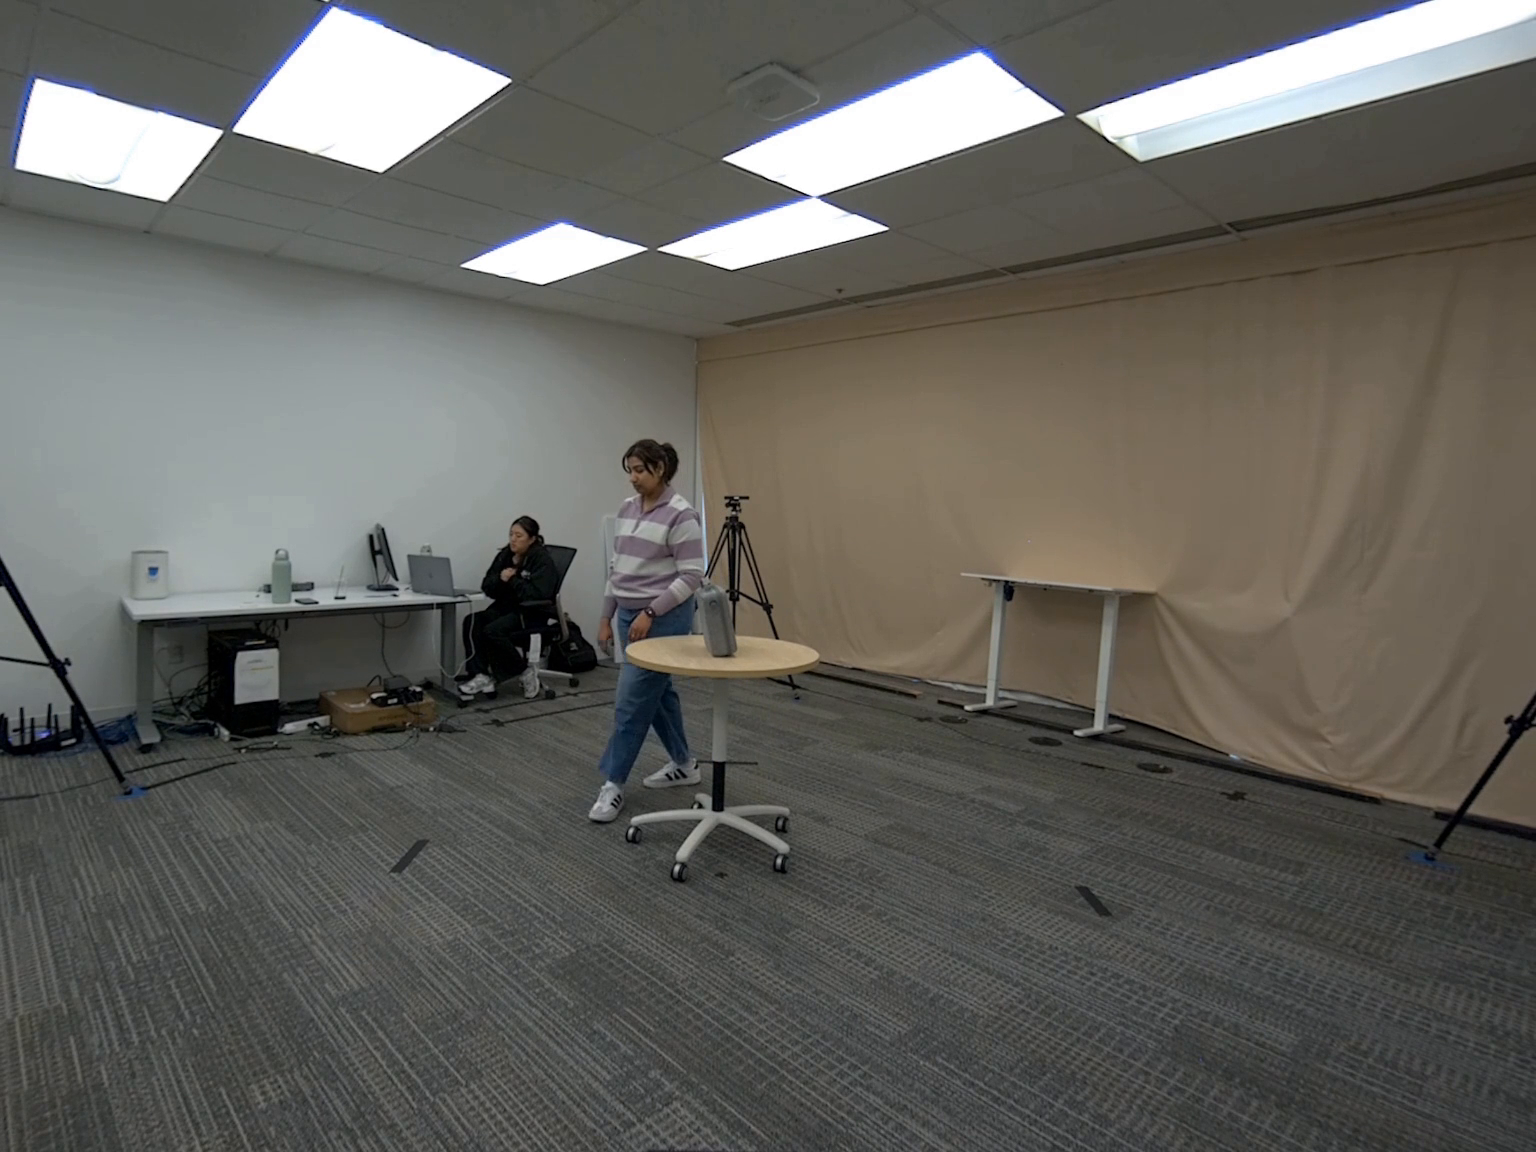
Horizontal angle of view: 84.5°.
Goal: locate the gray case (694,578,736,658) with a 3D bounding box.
[{"bbox_3d":[-0.214,0.171,3.302,0.104,0.260,0.259,-9,5,-7],"label":"gray case"}]
